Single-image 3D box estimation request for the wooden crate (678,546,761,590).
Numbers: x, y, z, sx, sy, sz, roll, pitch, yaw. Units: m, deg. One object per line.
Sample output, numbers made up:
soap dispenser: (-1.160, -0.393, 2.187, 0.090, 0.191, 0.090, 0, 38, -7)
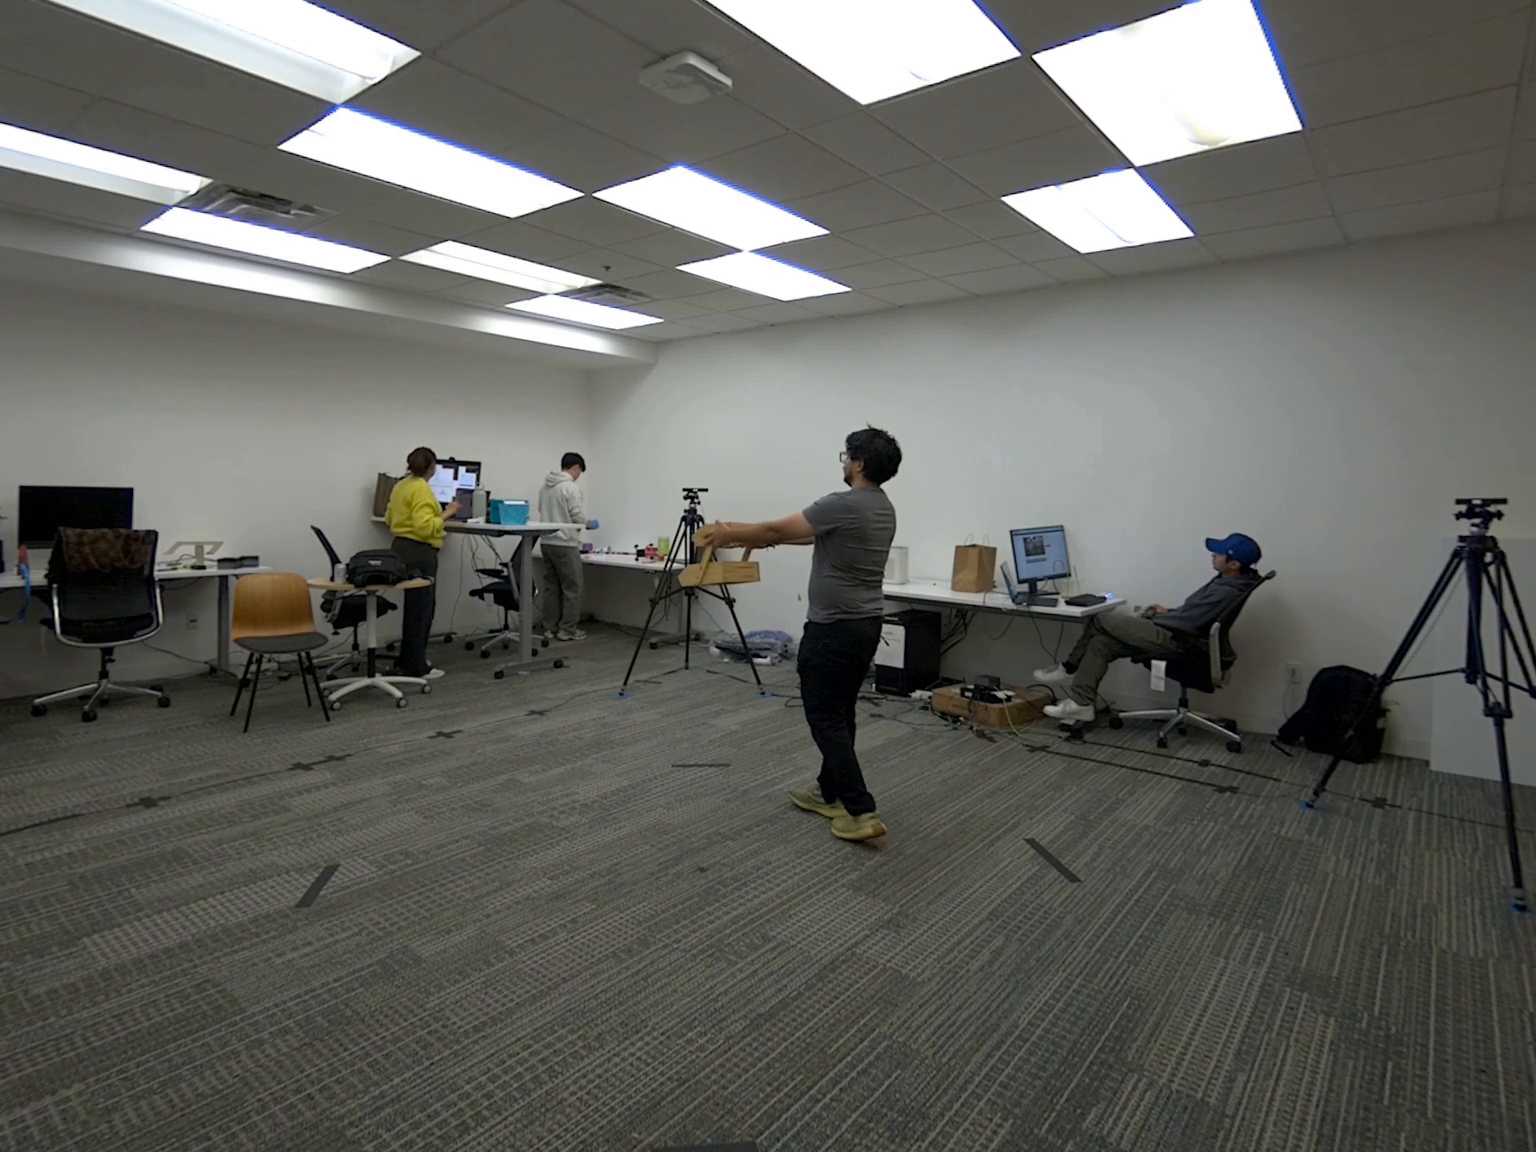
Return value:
wooden crate: (-0.221, -0.102, 3.891, 0.310, 0.274, 0.315, -4, -2, 34)
